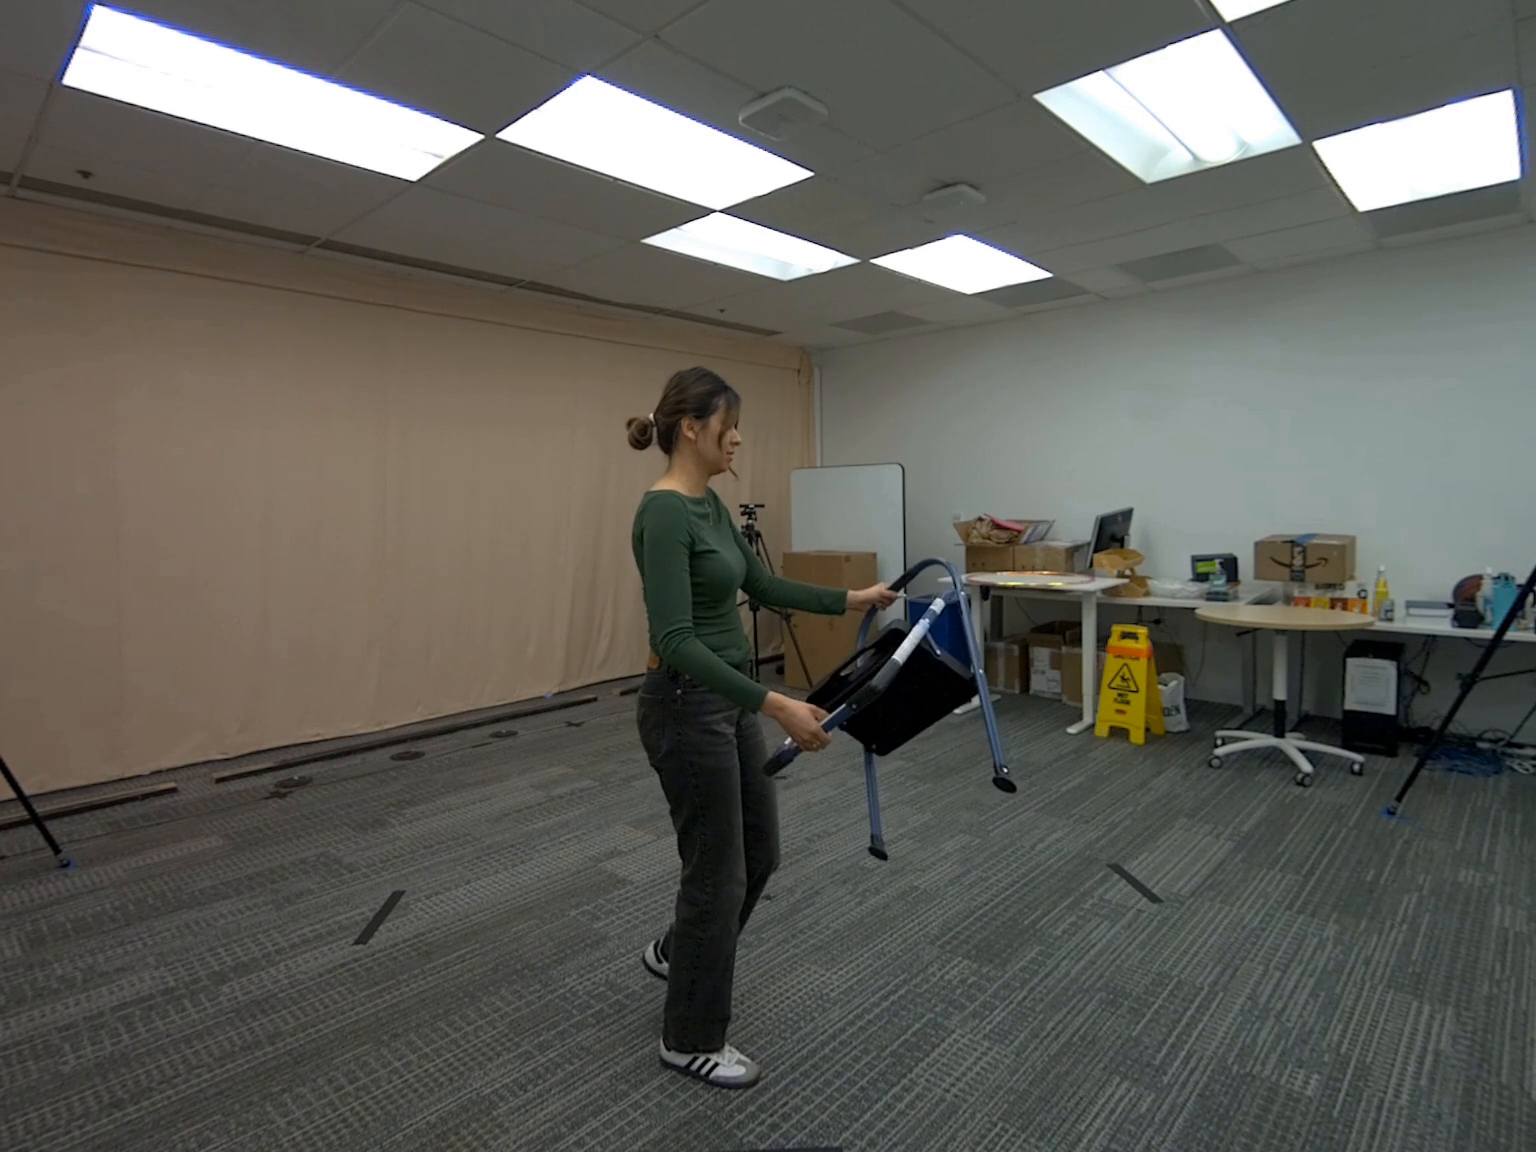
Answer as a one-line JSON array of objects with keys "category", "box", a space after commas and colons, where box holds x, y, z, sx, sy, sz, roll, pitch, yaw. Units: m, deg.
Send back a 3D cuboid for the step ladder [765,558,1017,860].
[{"category": "step ladder", "box": [0.306, 0.242, 1.961, 0.434, 0.346, 0.607, -47, 11, 40]}]
